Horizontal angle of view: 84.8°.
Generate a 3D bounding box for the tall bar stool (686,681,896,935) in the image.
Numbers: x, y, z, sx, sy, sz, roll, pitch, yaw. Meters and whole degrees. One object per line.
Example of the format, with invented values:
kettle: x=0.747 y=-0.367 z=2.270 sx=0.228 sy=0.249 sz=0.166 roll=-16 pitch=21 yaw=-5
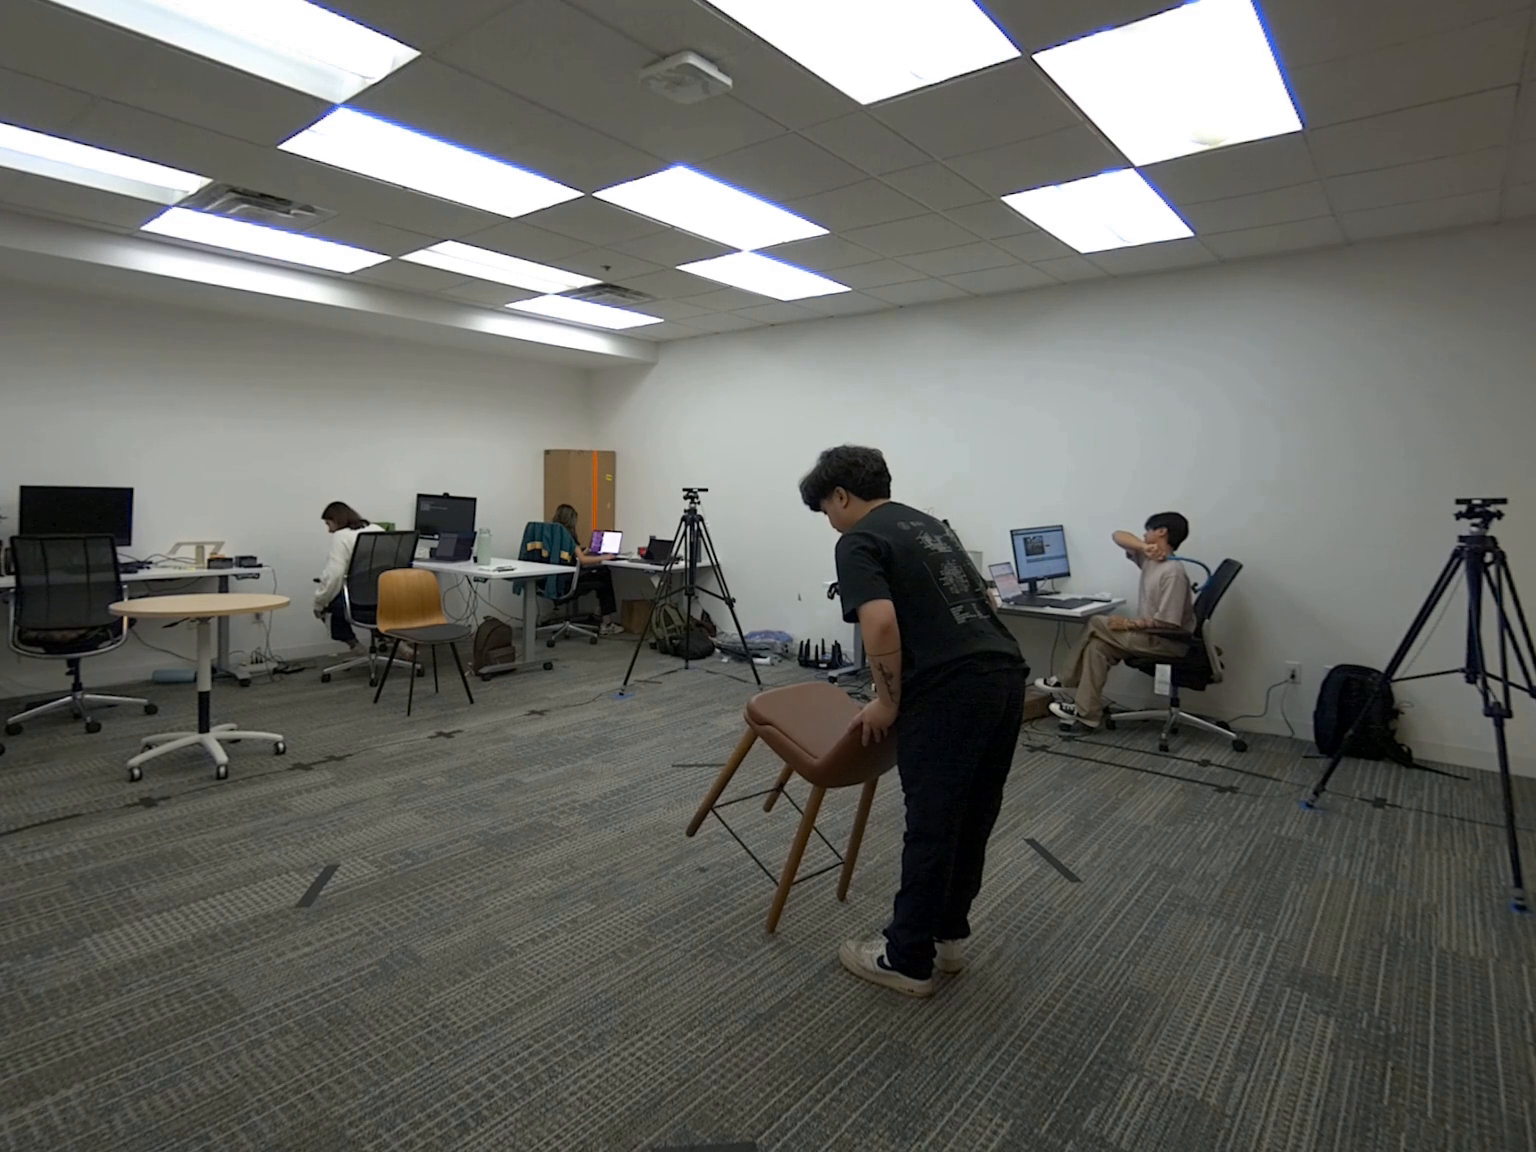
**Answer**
tall bar stool: x=0.142 y=0.626 z=2.763 sx=0.442 sy=0.880 sz=0.487 roll=-1 pitch=33 yaw=-44
